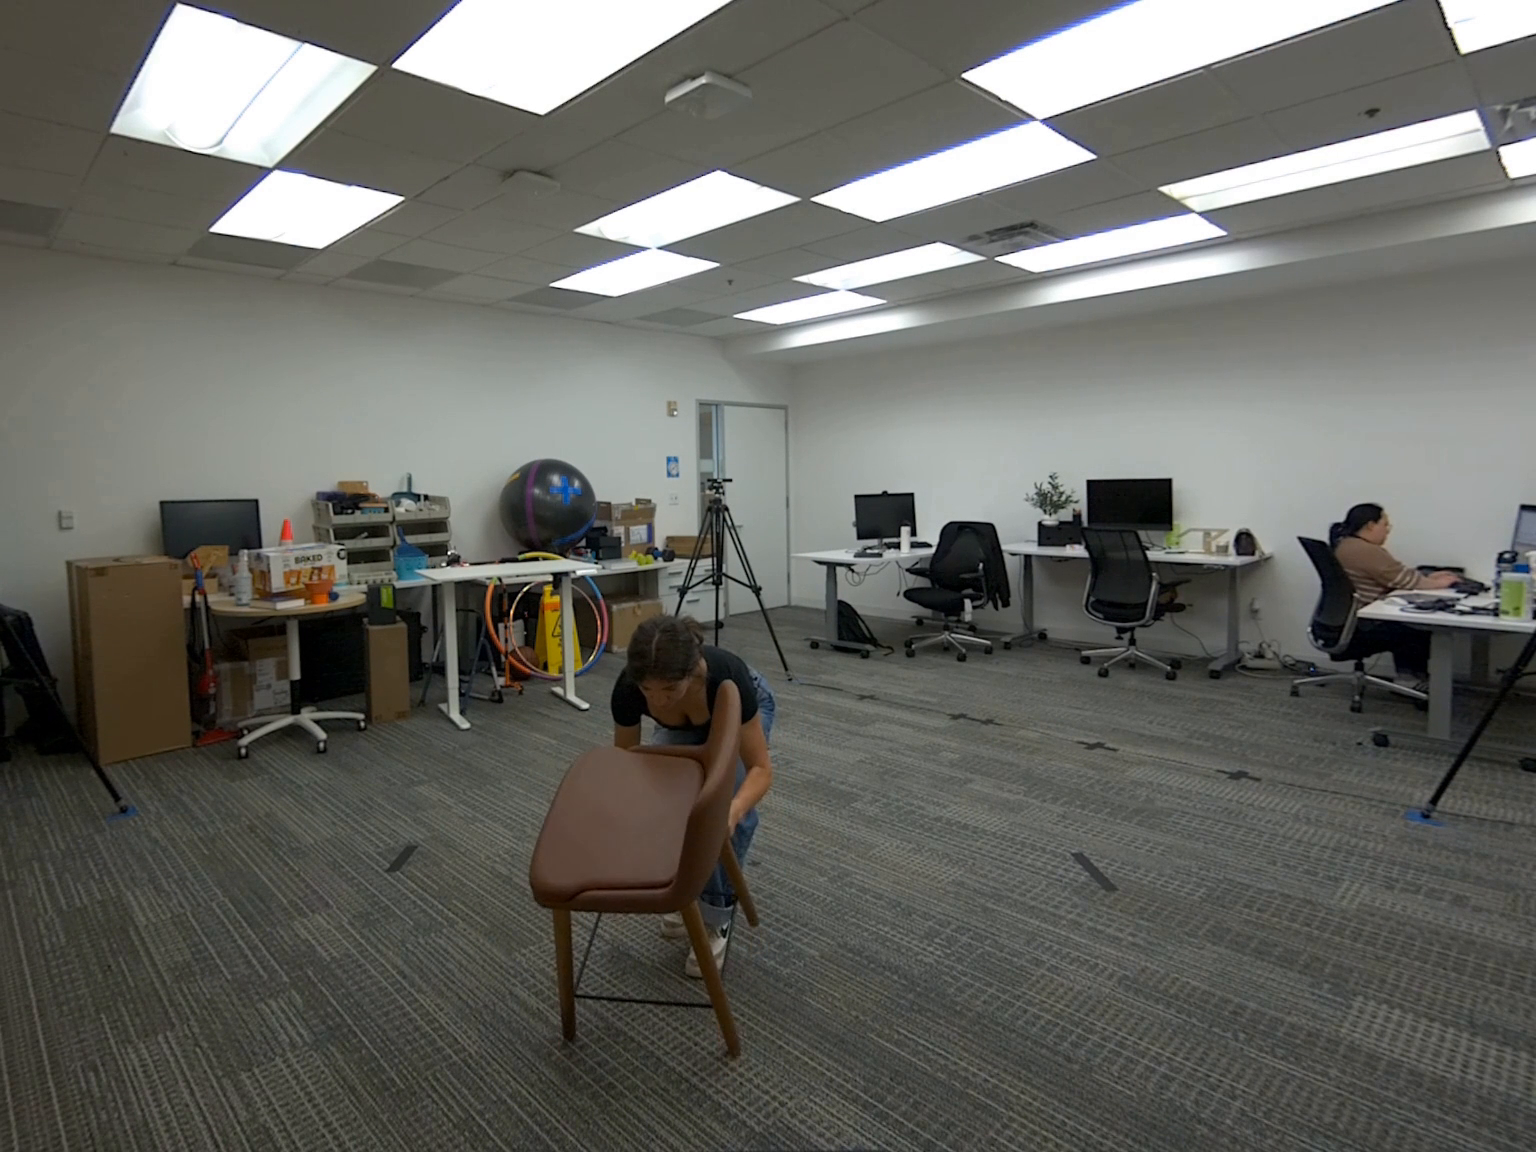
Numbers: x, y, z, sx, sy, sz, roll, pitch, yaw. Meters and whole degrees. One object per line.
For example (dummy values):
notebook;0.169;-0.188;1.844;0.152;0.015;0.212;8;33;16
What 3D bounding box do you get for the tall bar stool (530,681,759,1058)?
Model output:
tall bar stool;-0.284;0.704;2.058;0.472;0.868;0.464;3;31;8
